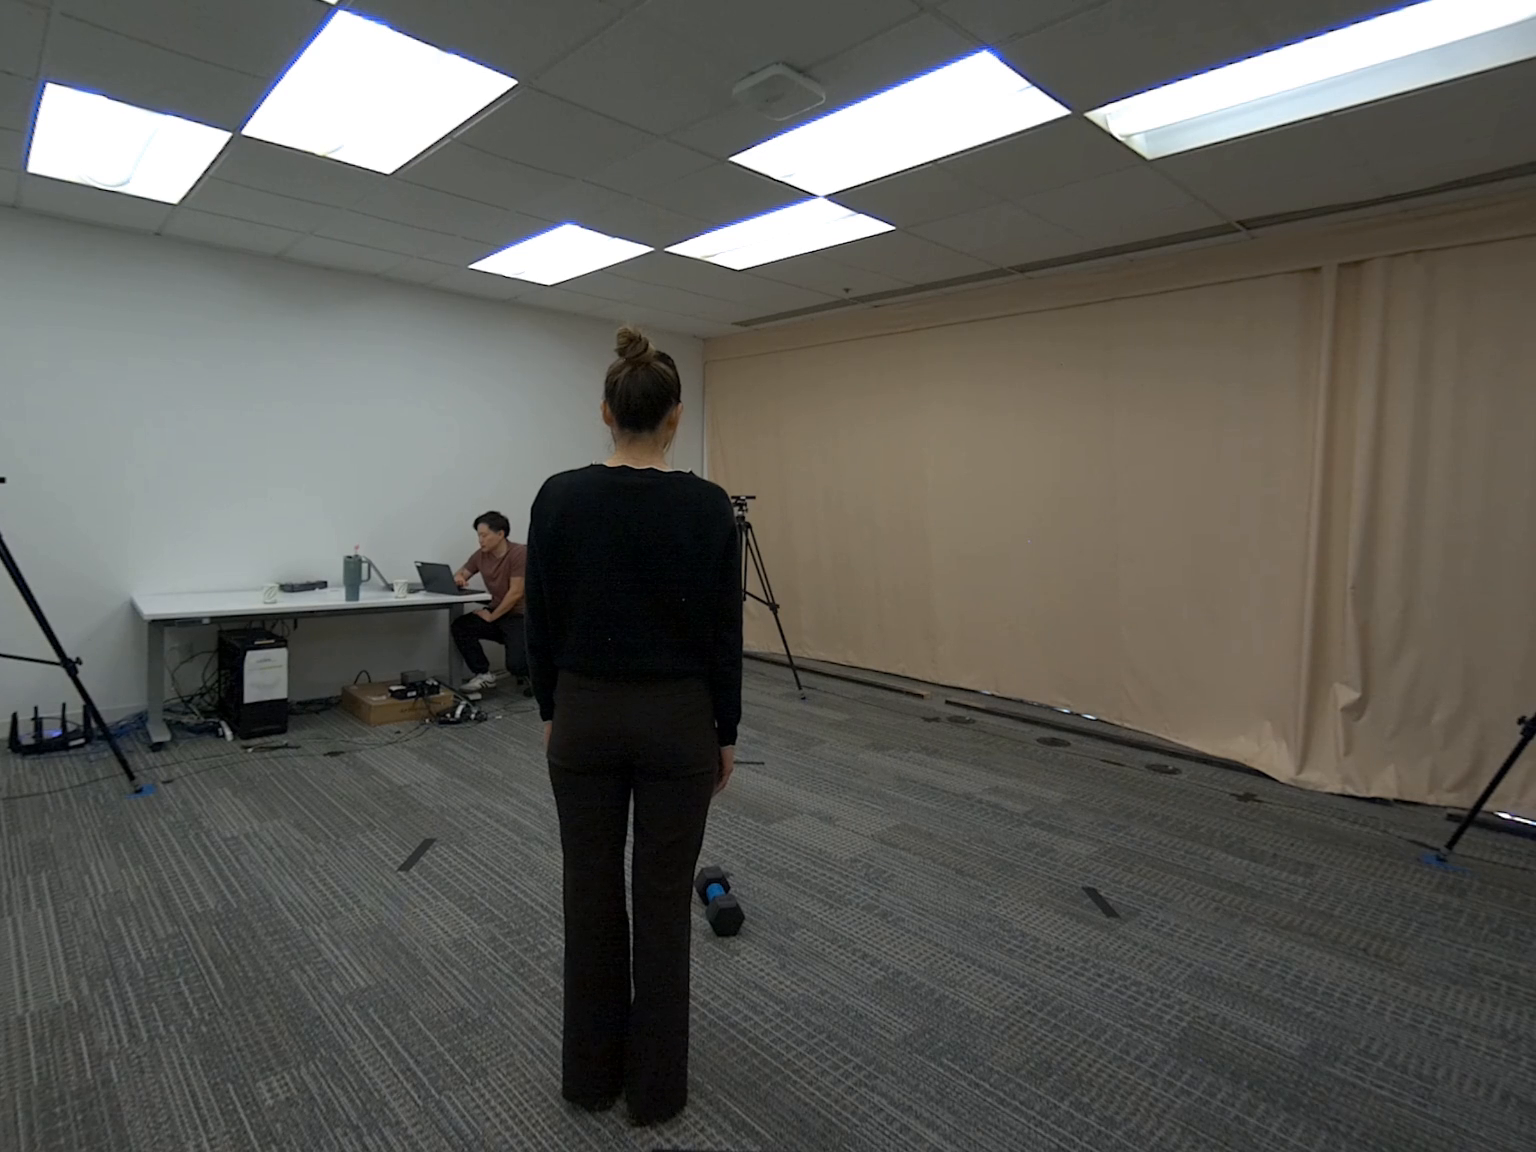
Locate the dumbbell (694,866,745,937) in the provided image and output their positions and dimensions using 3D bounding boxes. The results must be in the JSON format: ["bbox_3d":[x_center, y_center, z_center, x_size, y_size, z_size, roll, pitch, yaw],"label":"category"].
[{"bbox_3d":[-0.172,1.079,2.795,0.107,0.123,0.297,31,-3,-15],"label":"dumbbell"}]
